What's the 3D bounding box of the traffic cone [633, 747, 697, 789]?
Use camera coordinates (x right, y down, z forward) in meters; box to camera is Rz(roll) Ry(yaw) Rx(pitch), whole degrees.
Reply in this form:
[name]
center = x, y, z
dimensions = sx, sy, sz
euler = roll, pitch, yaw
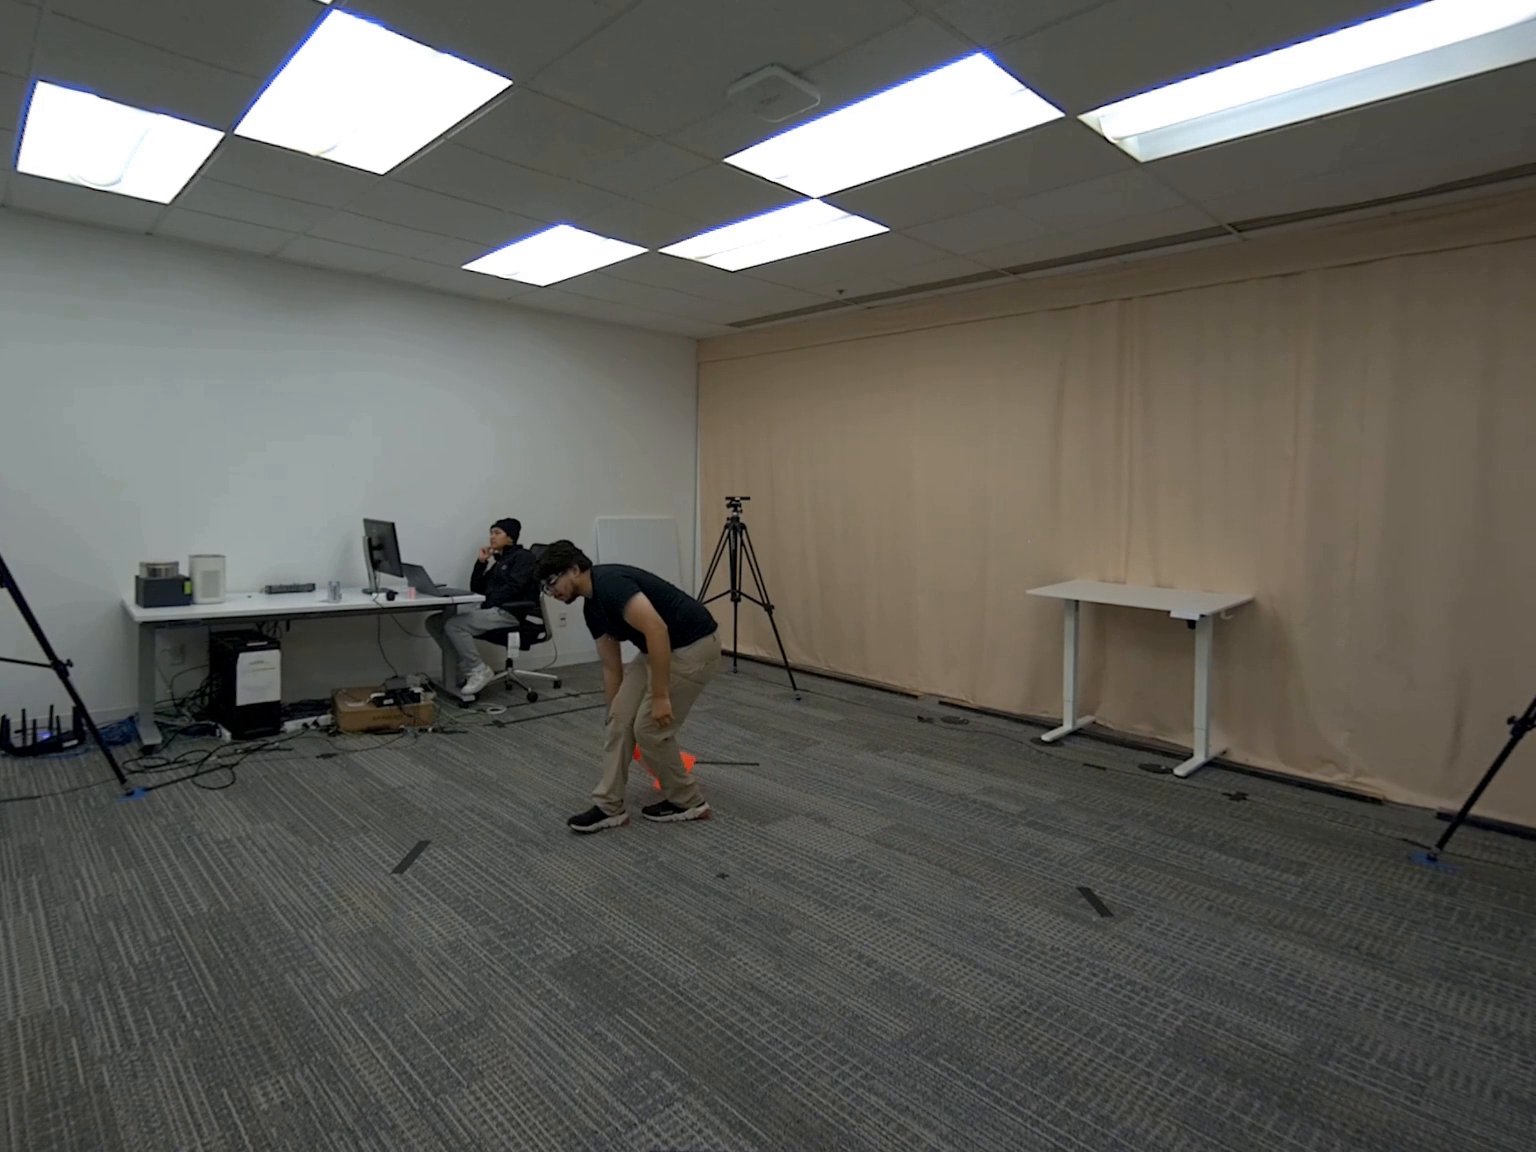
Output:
[traffic cone]
center = -0.570, 0.849, 3.912
dimensions = 0.209, 0.206, 0.372
euler = 9, -25, 47
